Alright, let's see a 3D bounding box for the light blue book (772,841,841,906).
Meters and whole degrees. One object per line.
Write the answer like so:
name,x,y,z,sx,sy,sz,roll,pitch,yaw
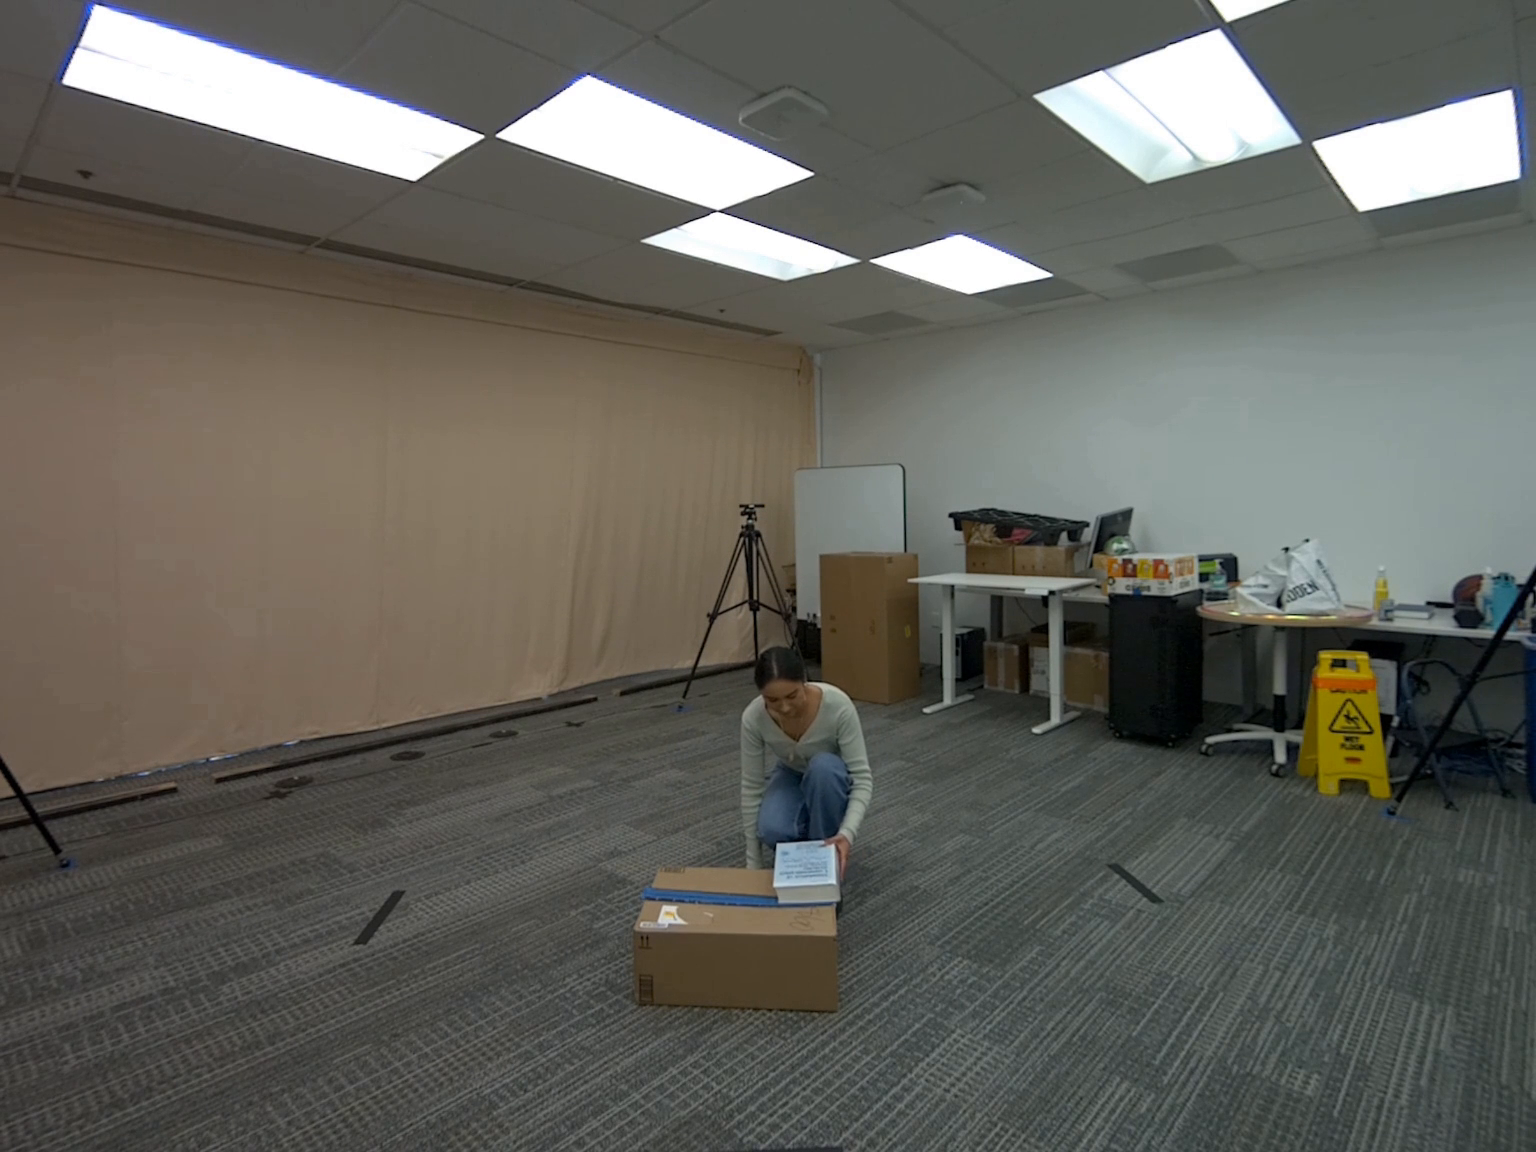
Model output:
light blue book,0.119,0.907,2.616,0.193,0.058,0.261,-5,10,6
